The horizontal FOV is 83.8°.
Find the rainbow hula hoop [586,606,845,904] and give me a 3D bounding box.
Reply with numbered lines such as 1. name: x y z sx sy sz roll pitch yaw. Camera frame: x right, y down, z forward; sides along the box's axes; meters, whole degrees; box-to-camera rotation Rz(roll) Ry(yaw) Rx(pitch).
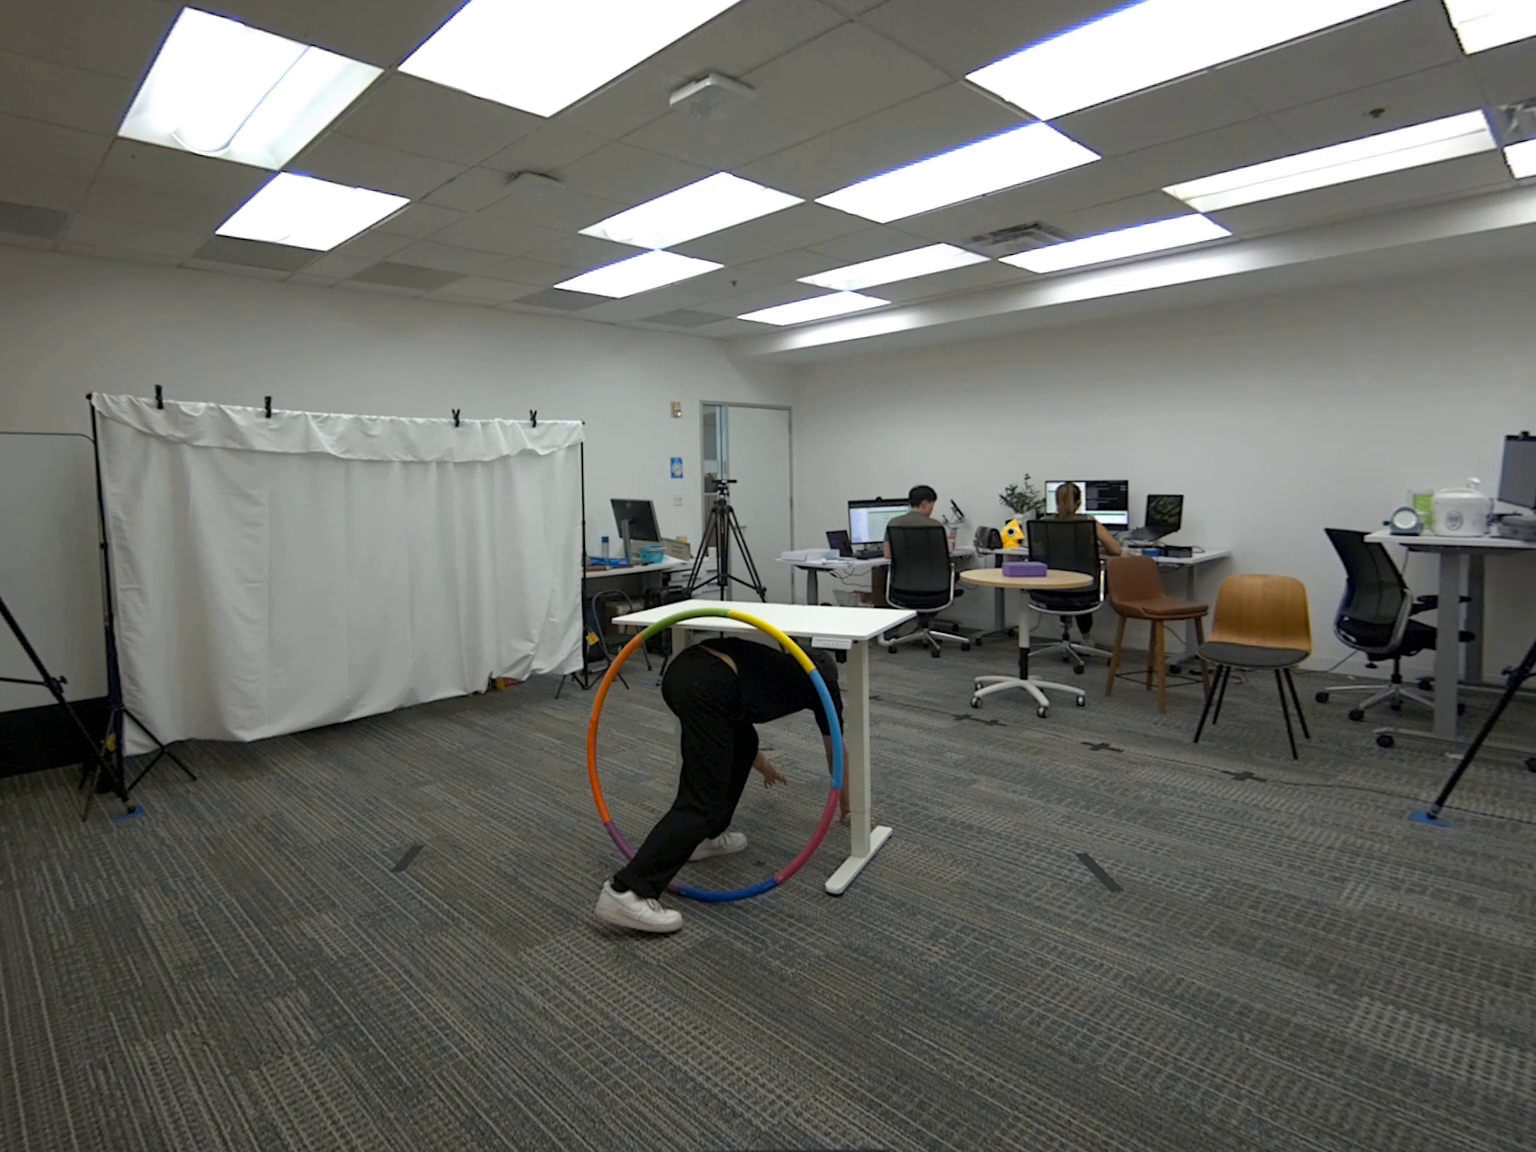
1. rainbow hula hoop: -0.209 0.600 2.932 1.003 0.984 0.034 1 -8 28
